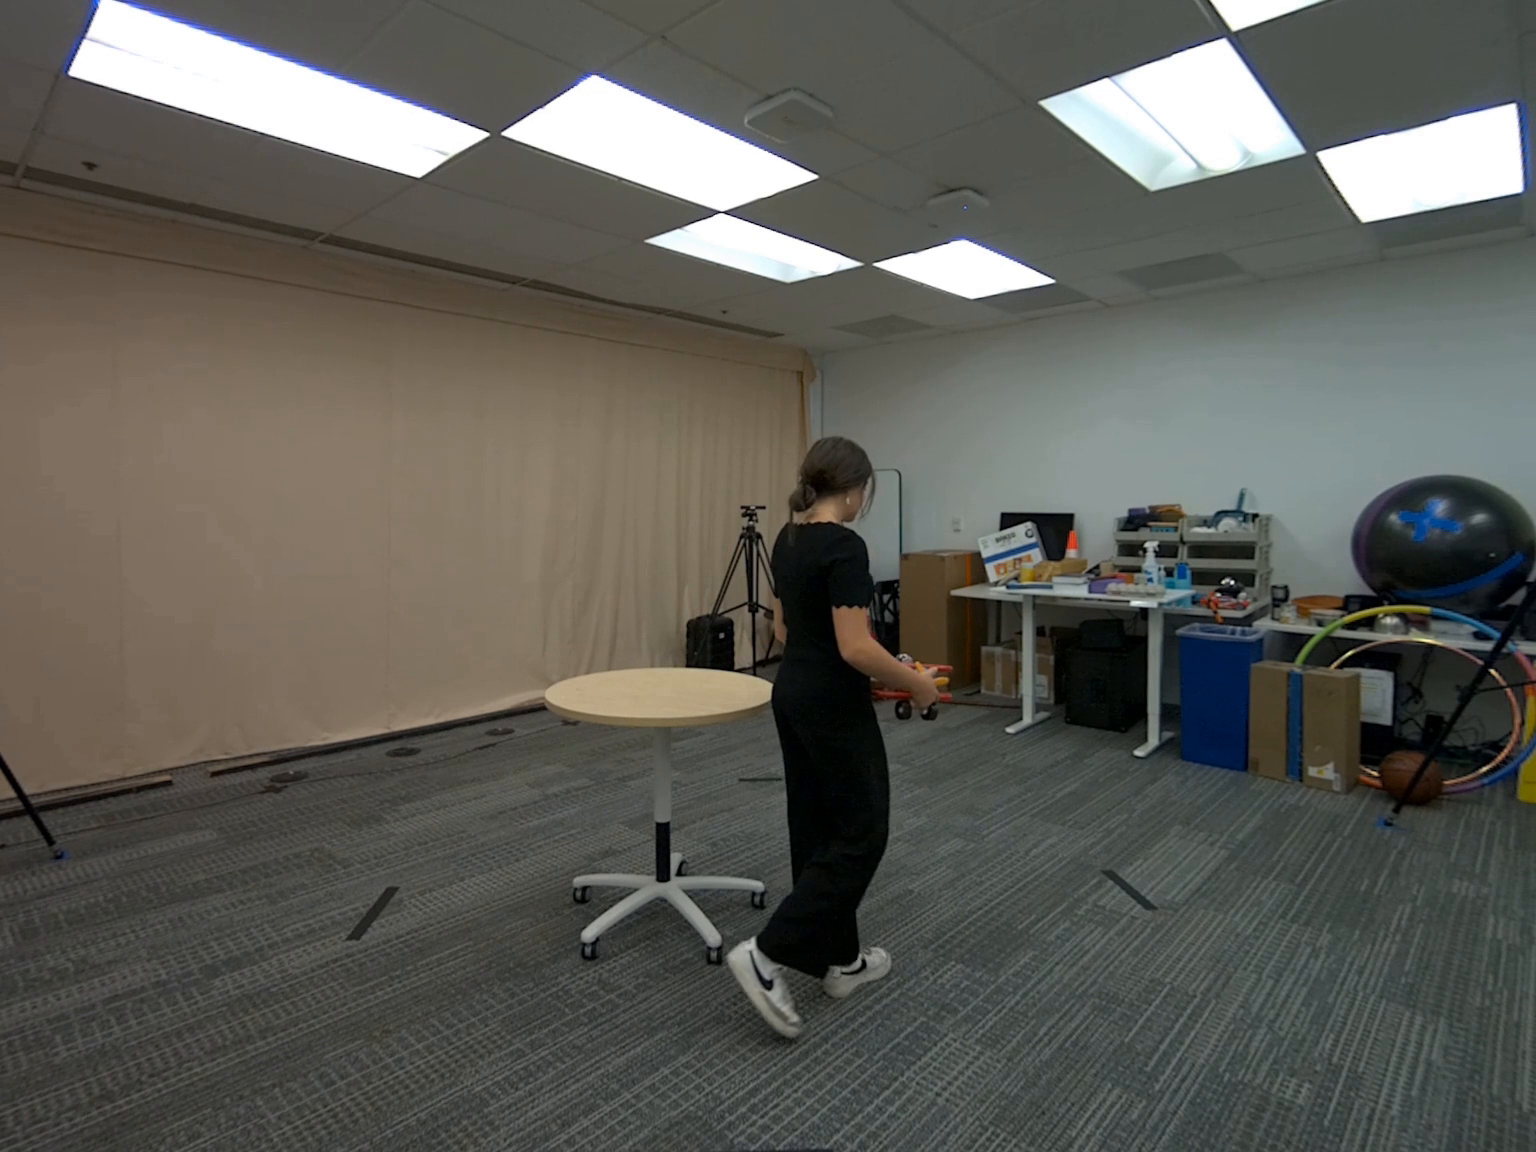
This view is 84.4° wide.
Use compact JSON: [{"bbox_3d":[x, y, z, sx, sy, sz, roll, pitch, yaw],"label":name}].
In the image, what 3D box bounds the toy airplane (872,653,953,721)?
[{"bbox_3d":[0.381,0.311,2.394,0.268,0.156,0.243,17,12,39],"label":"toy airplane"}]
